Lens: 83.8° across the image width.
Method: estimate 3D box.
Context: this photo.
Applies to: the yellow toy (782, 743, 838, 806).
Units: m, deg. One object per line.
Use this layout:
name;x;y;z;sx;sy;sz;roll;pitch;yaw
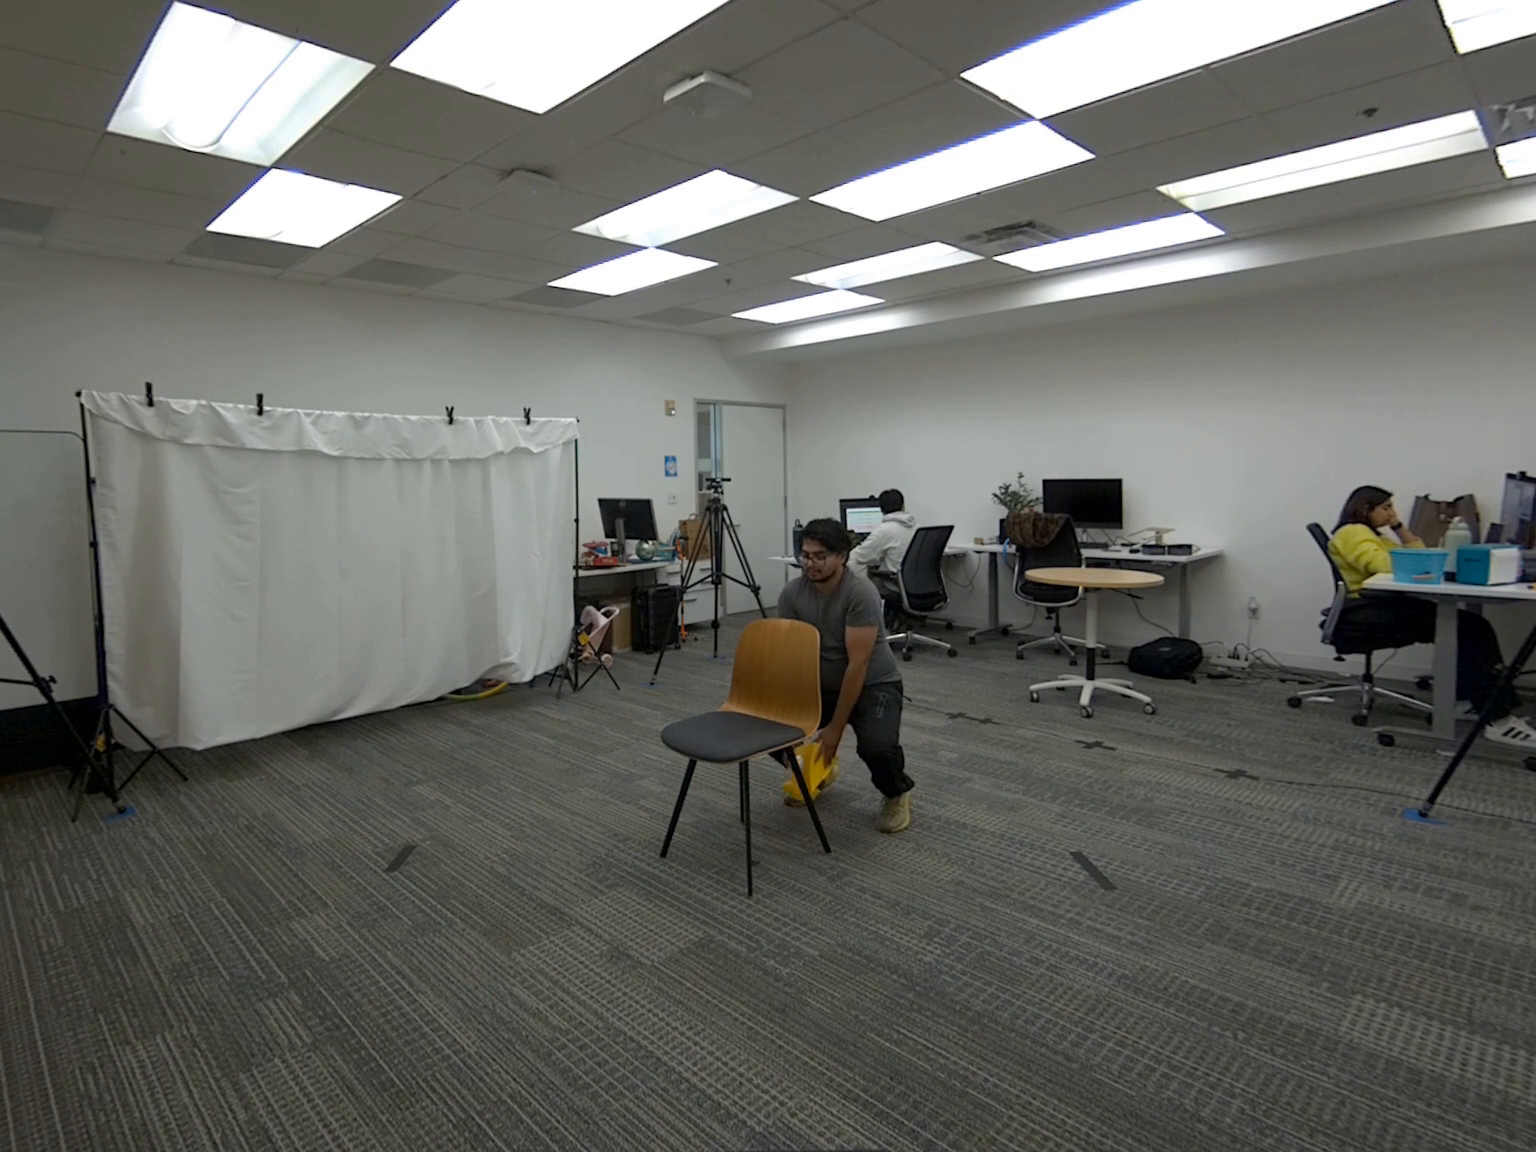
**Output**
yellow toy;0.149;0.733;3.370;0.199;0.224;0.203;14;37;38
